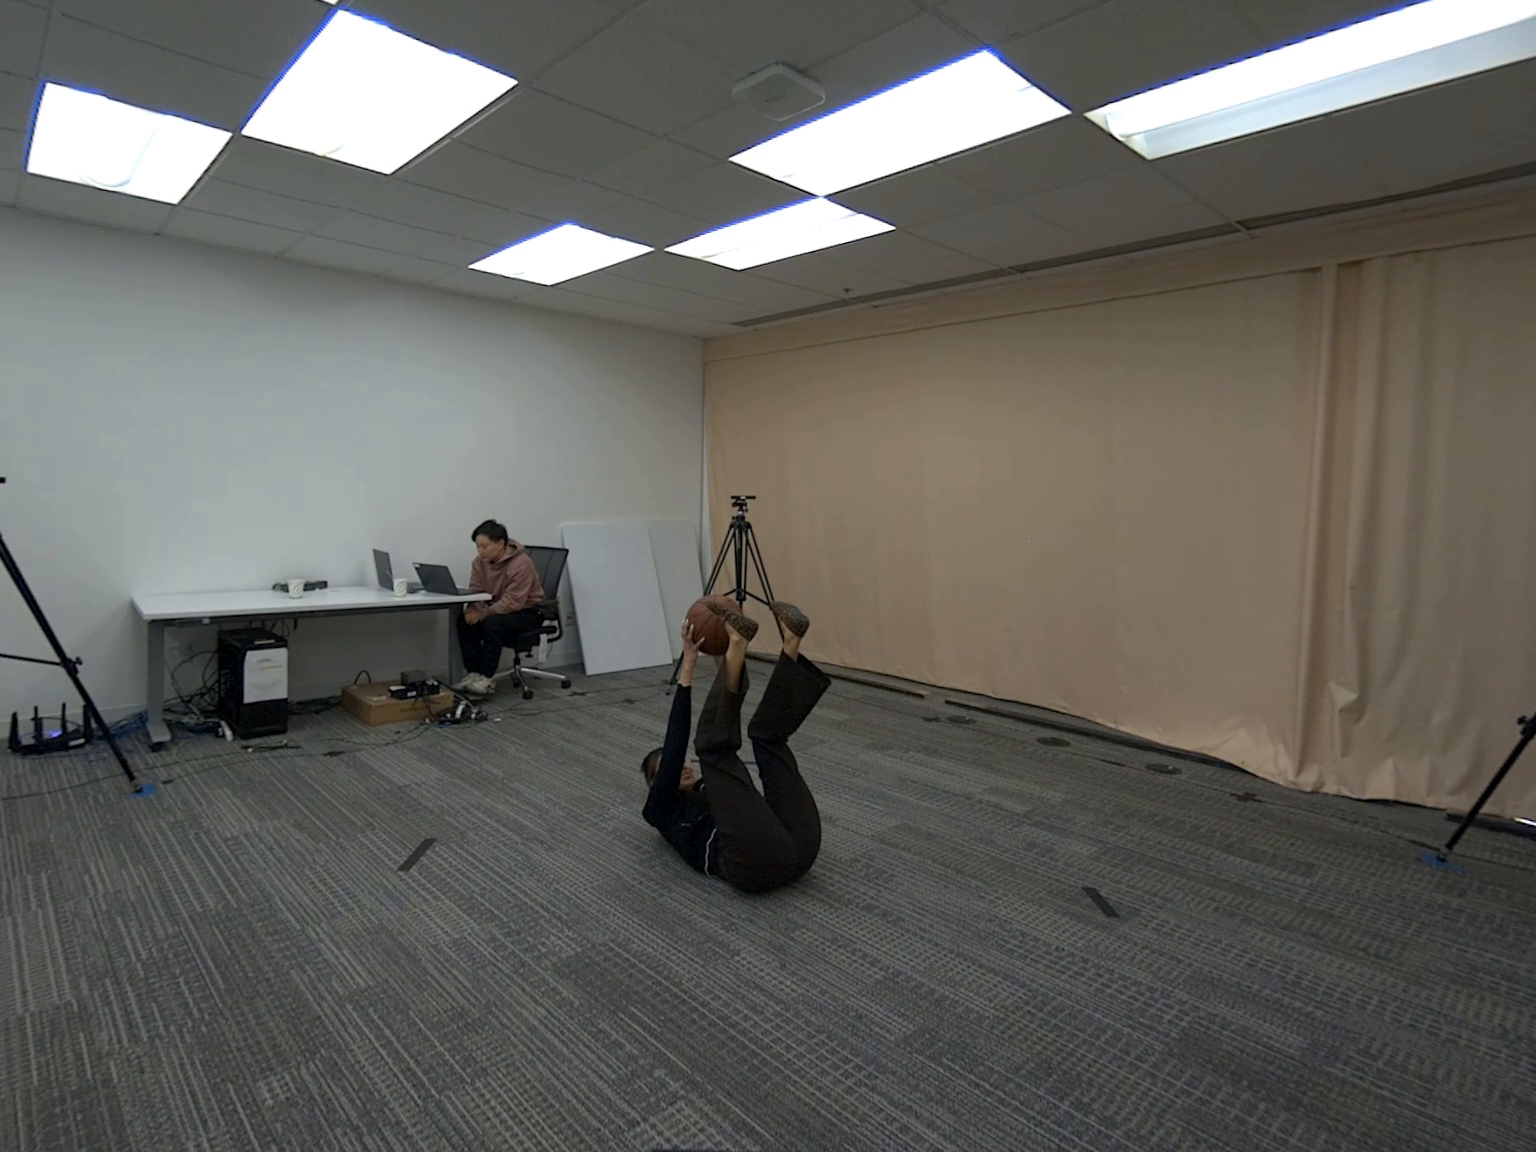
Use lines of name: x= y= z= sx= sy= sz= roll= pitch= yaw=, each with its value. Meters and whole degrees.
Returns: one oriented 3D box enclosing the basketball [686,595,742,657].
basketball: x=-0.201 y=0.188 z=3.253 sx=0.236 sy=0.235 sz=0.237 roll=1 pitch=4 yaw=-1
